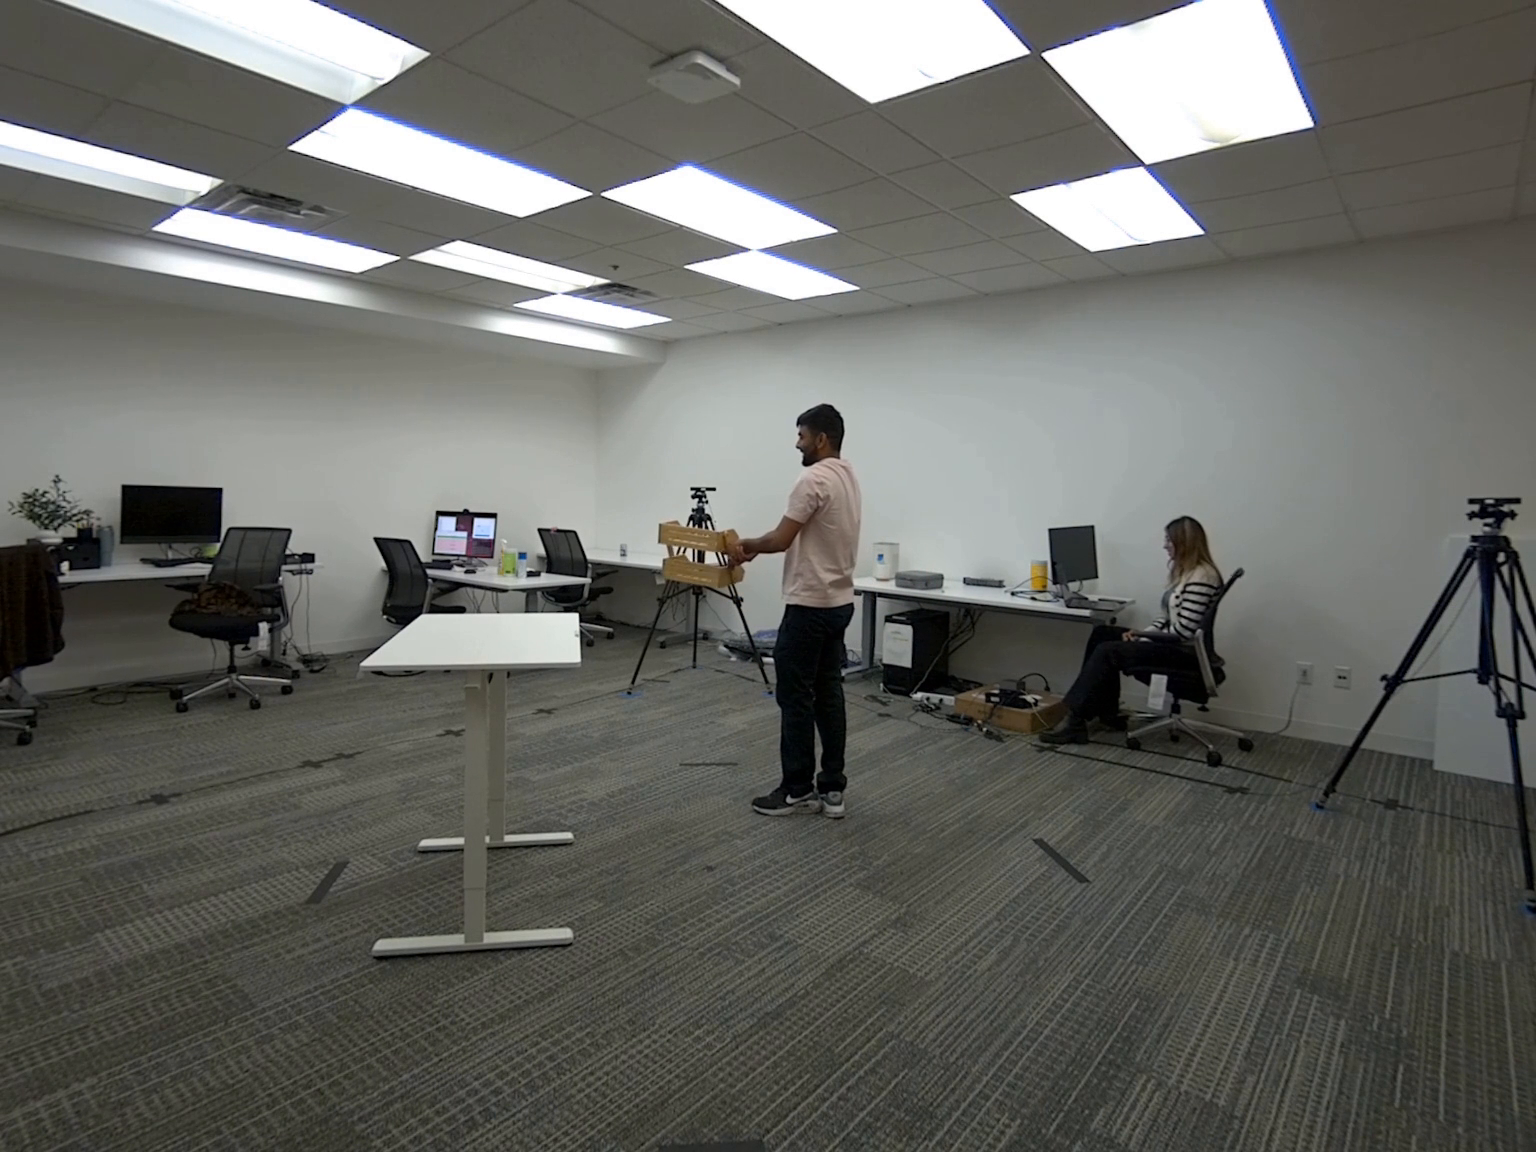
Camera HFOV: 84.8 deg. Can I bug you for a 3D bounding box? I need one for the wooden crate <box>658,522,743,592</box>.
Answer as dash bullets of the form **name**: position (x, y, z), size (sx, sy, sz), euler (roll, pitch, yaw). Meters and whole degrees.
- **wooden crate**: position (-0.310, -0.116, 3.897), size (0.333, 0.271, 0.296), euler (9, 11, 24)
